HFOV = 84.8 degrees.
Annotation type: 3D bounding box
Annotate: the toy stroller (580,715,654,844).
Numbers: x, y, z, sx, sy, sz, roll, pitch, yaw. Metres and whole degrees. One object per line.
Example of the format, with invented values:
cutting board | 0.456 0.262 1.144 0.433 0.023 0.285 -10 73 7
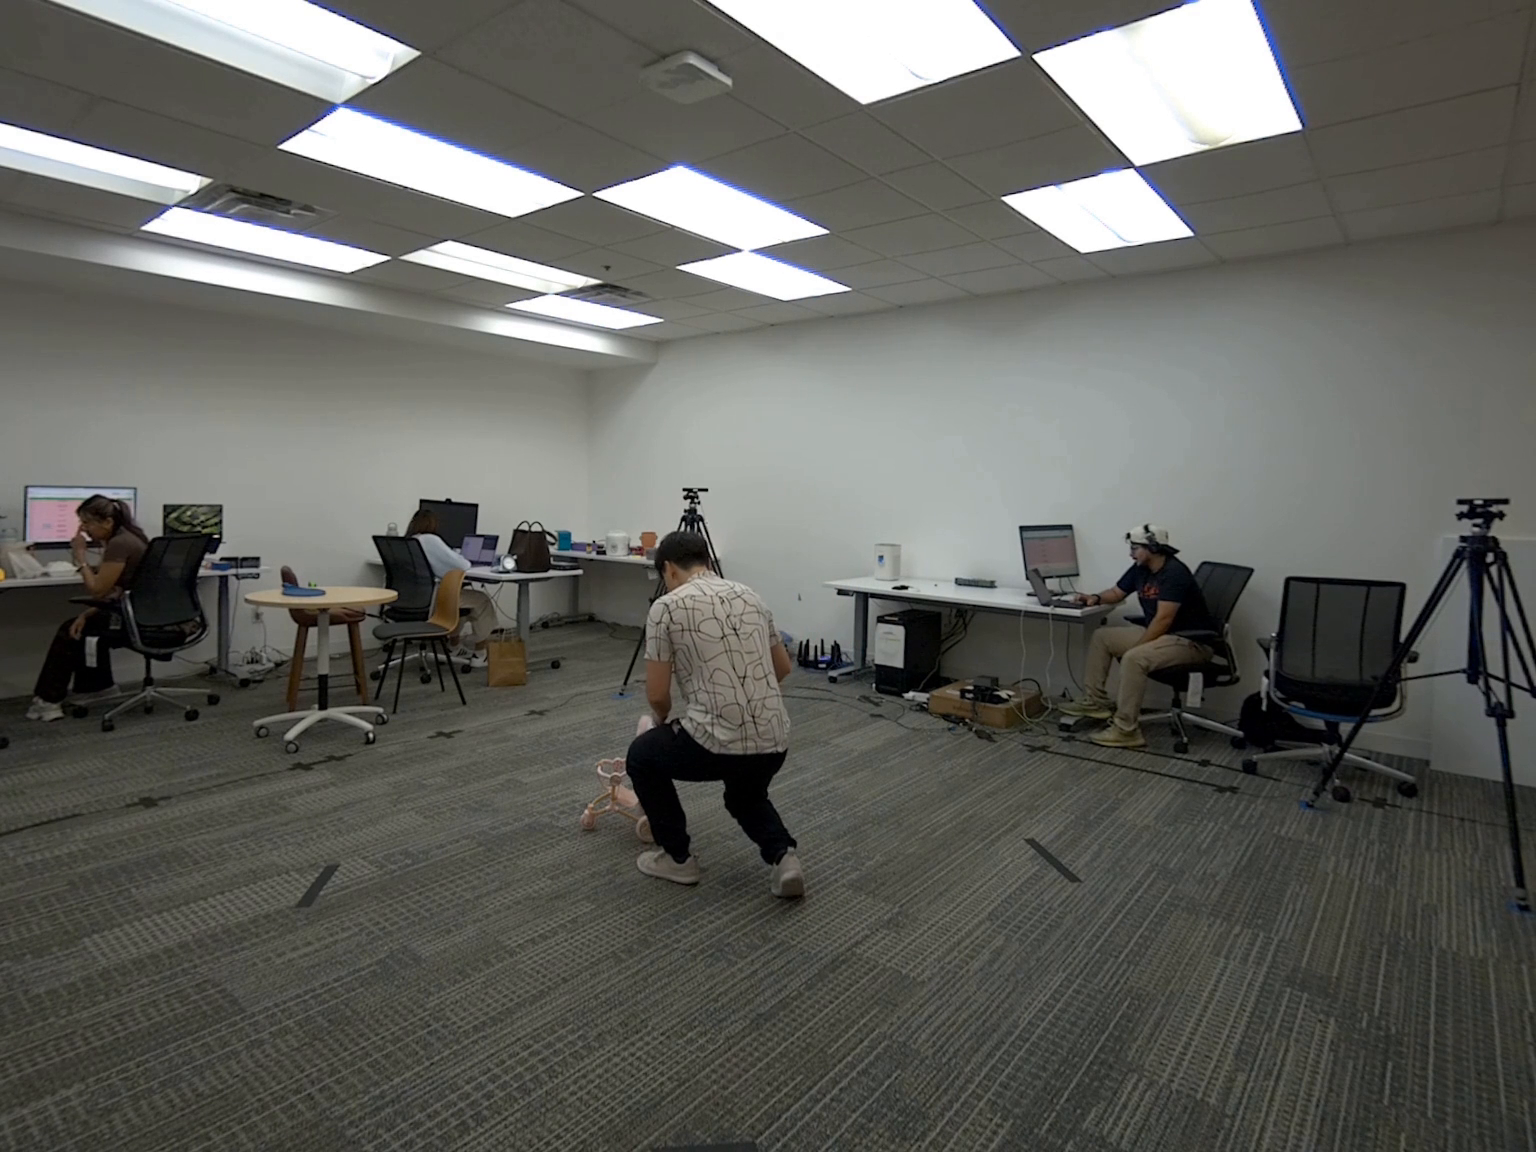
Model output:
toy stroller | -0.544 0.806 3.450 0.342 0.534 0.282 18 2 0
